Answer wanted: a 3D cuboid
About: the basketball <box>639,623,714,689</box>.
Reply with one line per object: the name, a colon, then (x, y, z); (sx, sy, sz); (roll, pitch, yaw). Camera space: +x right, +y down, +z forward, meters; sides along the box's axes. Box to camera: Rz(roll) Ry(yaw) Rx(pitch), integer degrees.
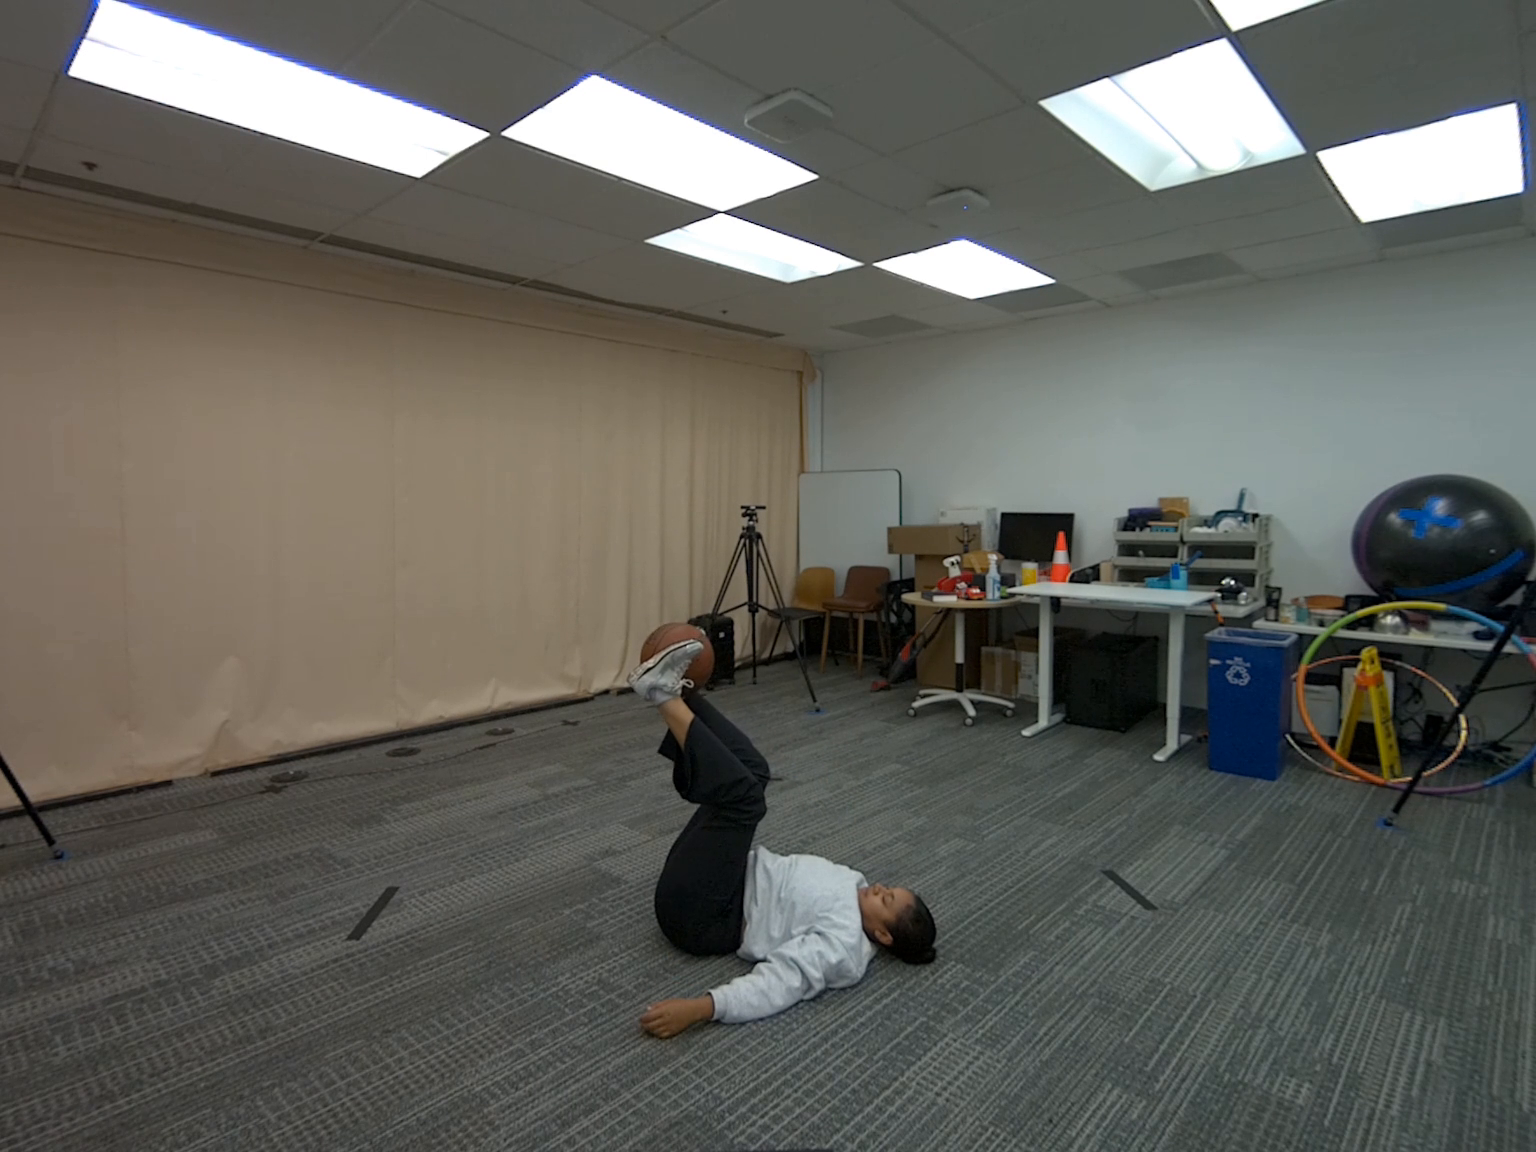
basketball: (-0.291, 0.271, 2.705); (0.236, 0.236, 0.236); (2, 0, -2)
